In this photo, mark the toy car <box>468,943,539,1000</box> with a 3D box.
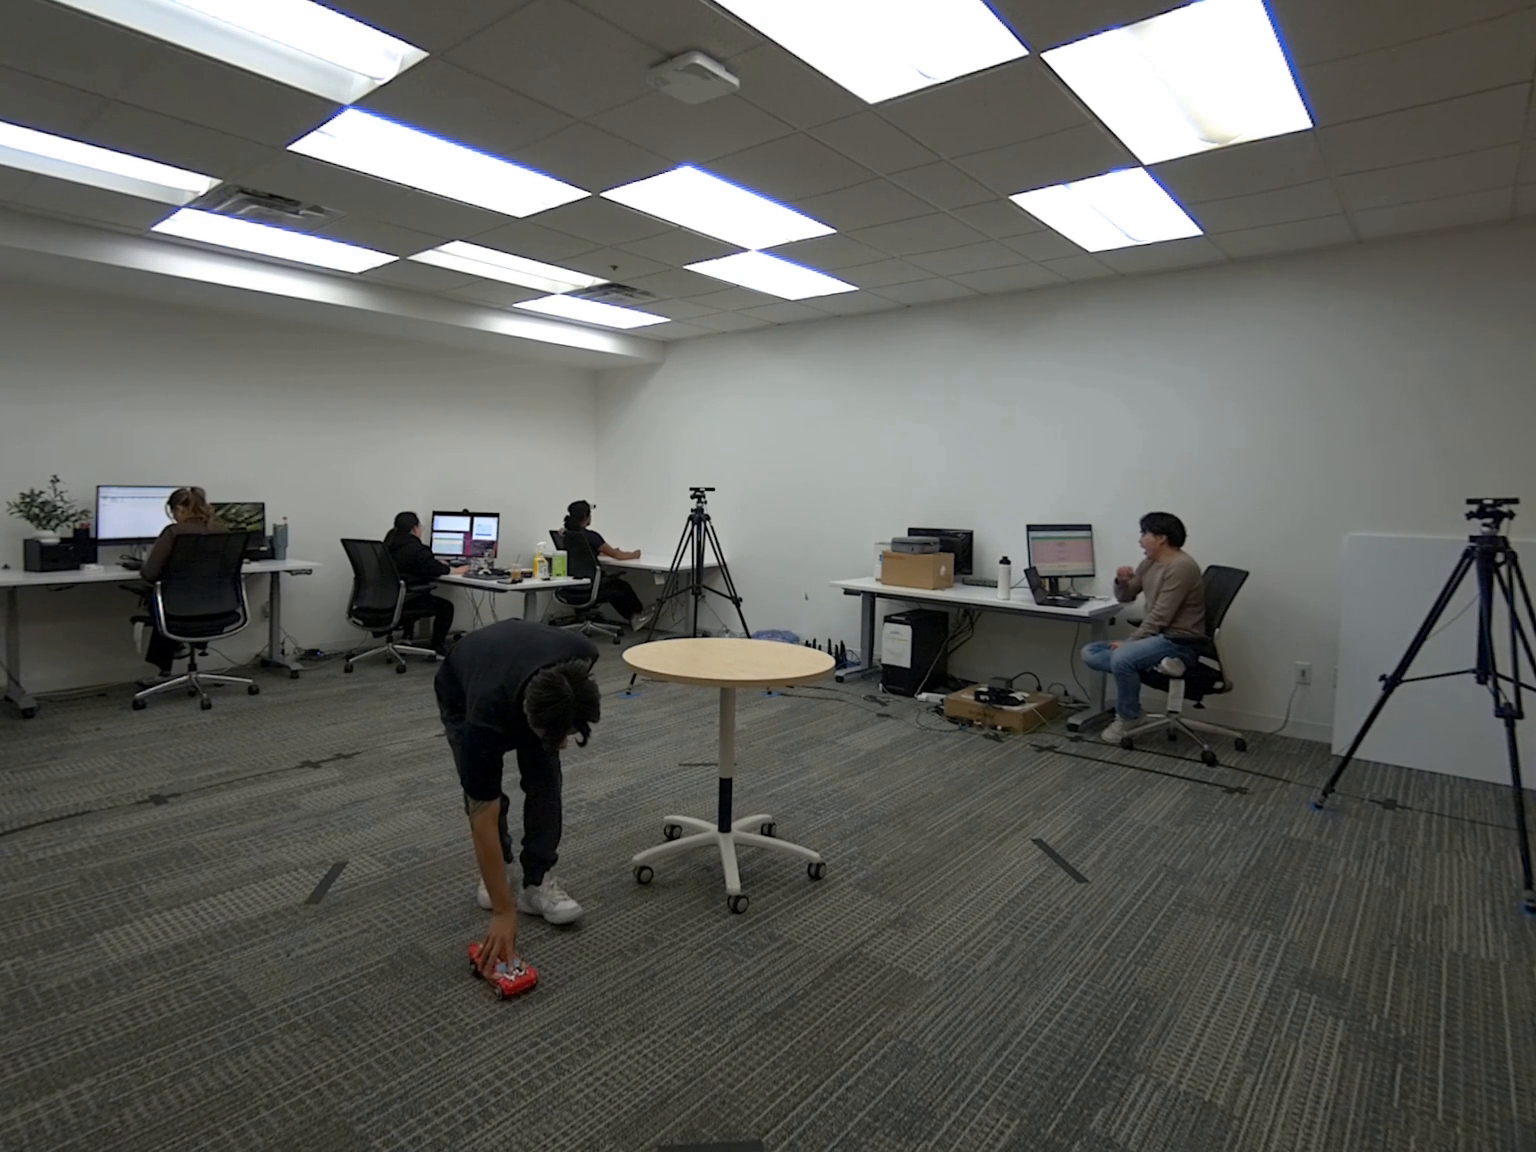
[{"bbox_3d":[-0.762,1.102,2.393,0.126,0.082,0.265,-4,17,-43],"label":"toy car"}]
